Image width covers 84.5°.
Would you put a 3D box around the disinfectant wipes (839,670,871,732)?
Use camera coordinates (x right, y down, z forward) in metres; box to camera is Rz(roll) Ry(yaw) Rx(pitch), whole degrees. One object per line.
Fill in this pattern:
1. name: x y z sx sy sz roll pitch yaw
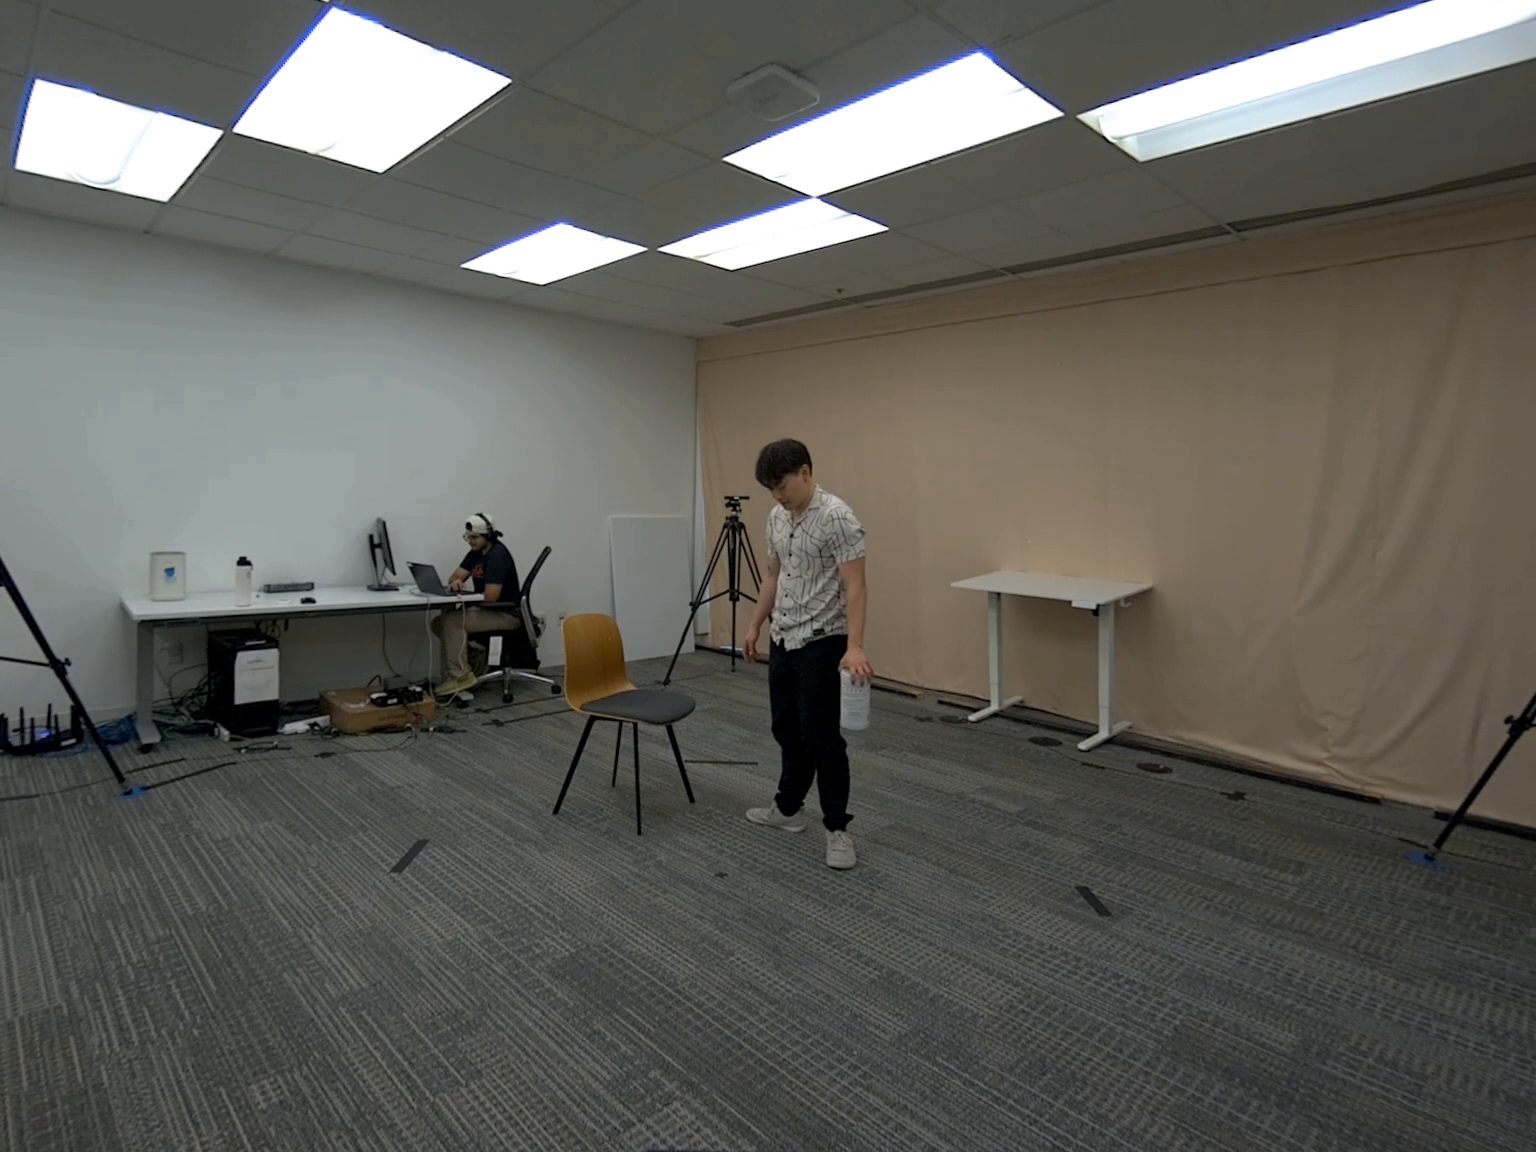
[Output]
1. disinfectant wipes: 0.319 0.456 3.119 0.118 0.215 0.119 -2 12 -1
